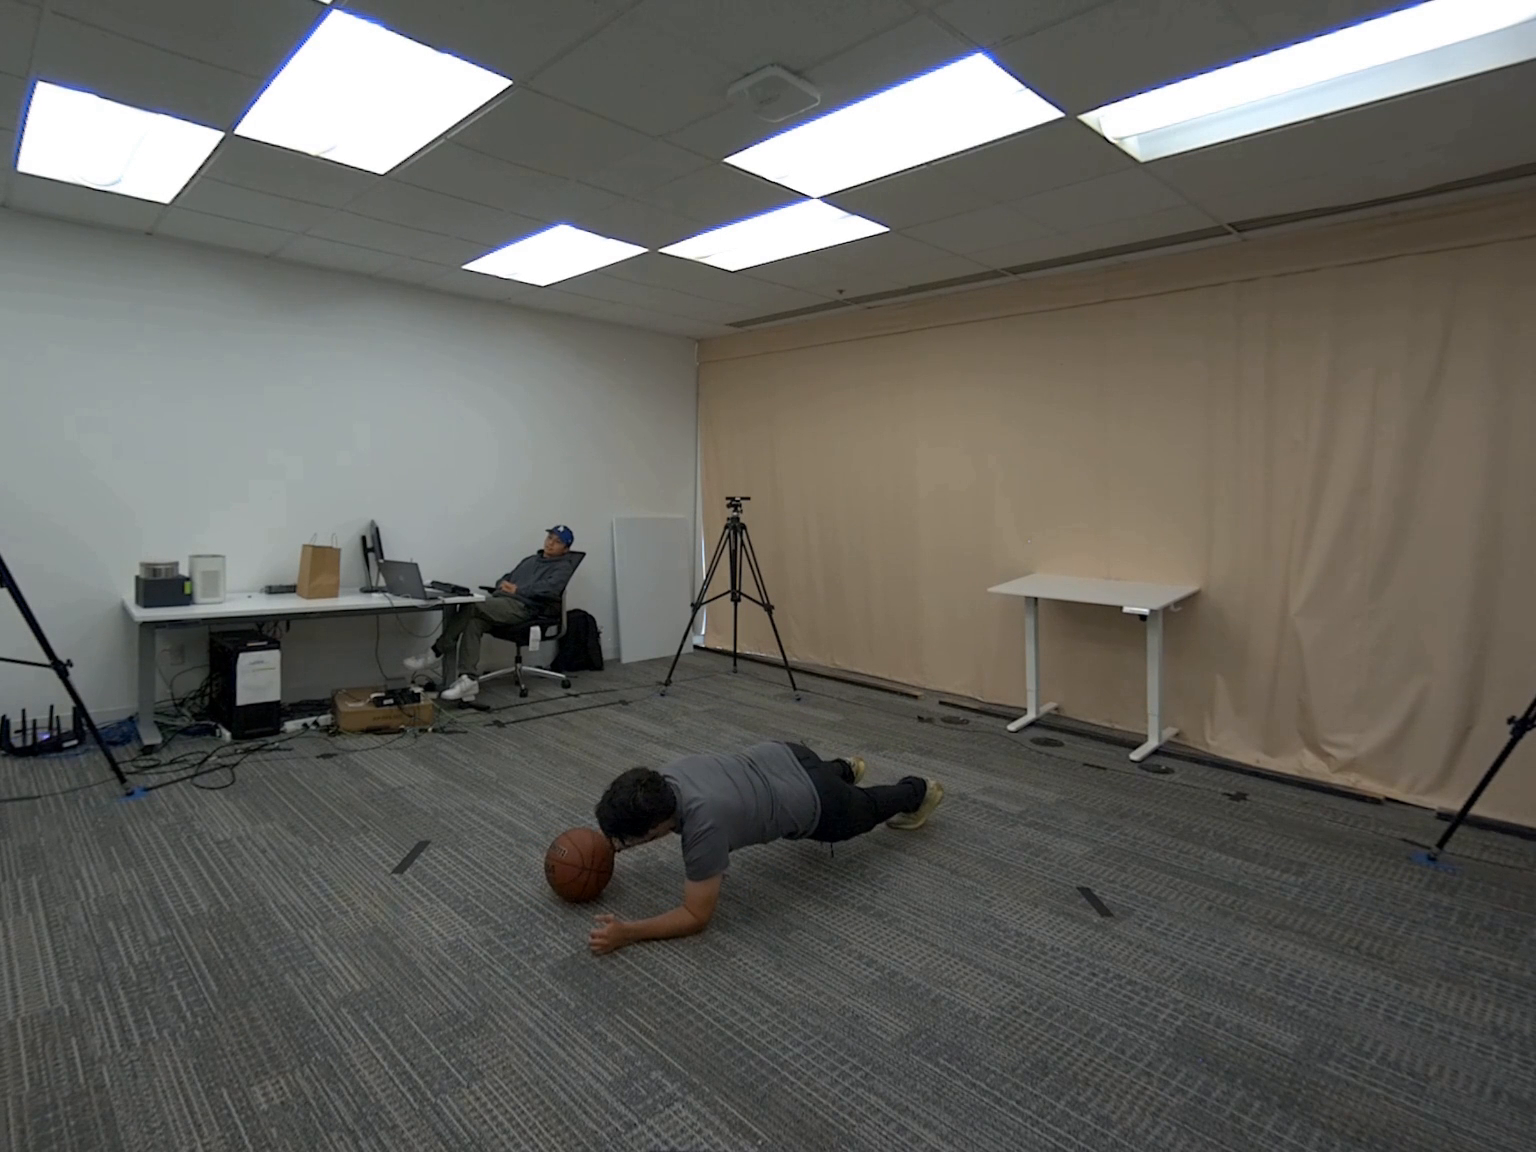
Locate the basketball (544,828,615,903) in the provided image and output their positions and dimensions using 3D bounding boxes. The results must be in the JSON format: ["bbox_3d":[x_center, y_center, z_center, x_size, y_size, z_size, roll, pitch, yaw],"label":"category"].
[{"bbox_3d":[-0.654,0.989,2.904,0.236,0.235,0.237,1,4,-1],"label":"basketball"}]
